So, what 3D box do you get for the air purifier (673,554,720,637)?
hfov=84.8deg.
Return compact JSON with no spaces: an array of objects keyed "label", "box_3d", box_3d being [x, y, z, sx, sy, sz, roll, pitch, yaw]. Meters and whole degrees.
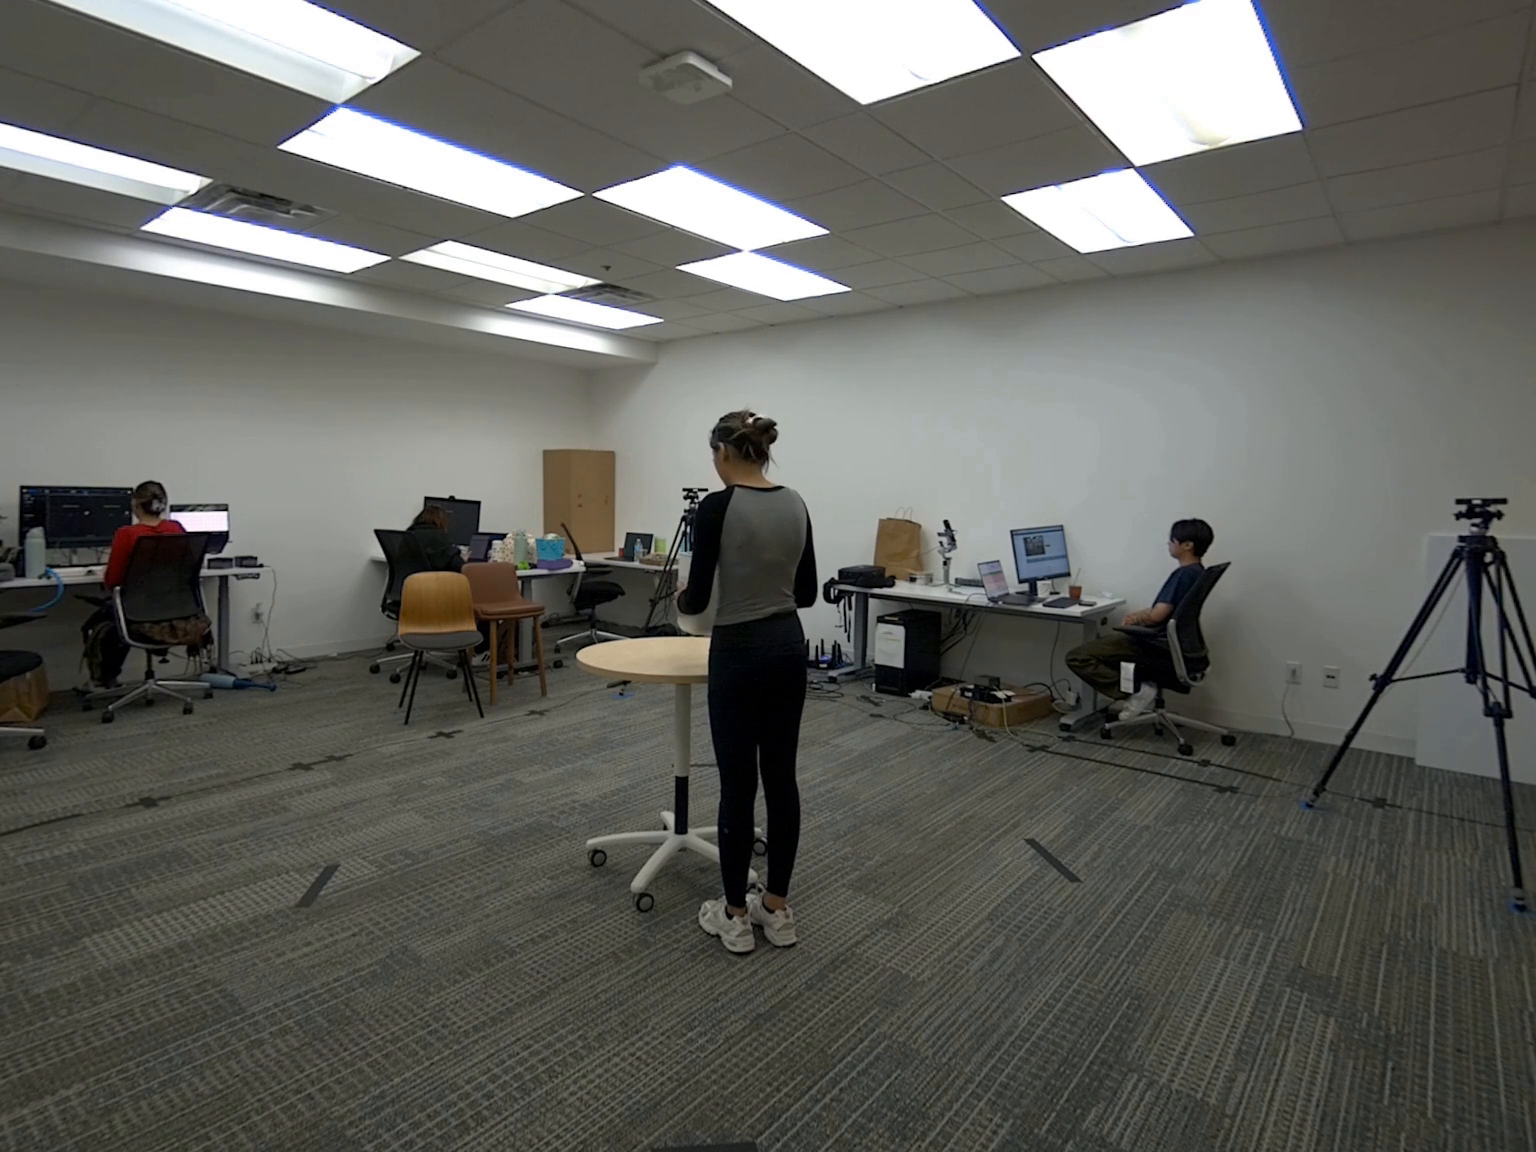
[{"label":"air purifier","box_3d":[-0.218,0.055,2.870,0.167,0.265,0.176,-1,4,-25]}]
